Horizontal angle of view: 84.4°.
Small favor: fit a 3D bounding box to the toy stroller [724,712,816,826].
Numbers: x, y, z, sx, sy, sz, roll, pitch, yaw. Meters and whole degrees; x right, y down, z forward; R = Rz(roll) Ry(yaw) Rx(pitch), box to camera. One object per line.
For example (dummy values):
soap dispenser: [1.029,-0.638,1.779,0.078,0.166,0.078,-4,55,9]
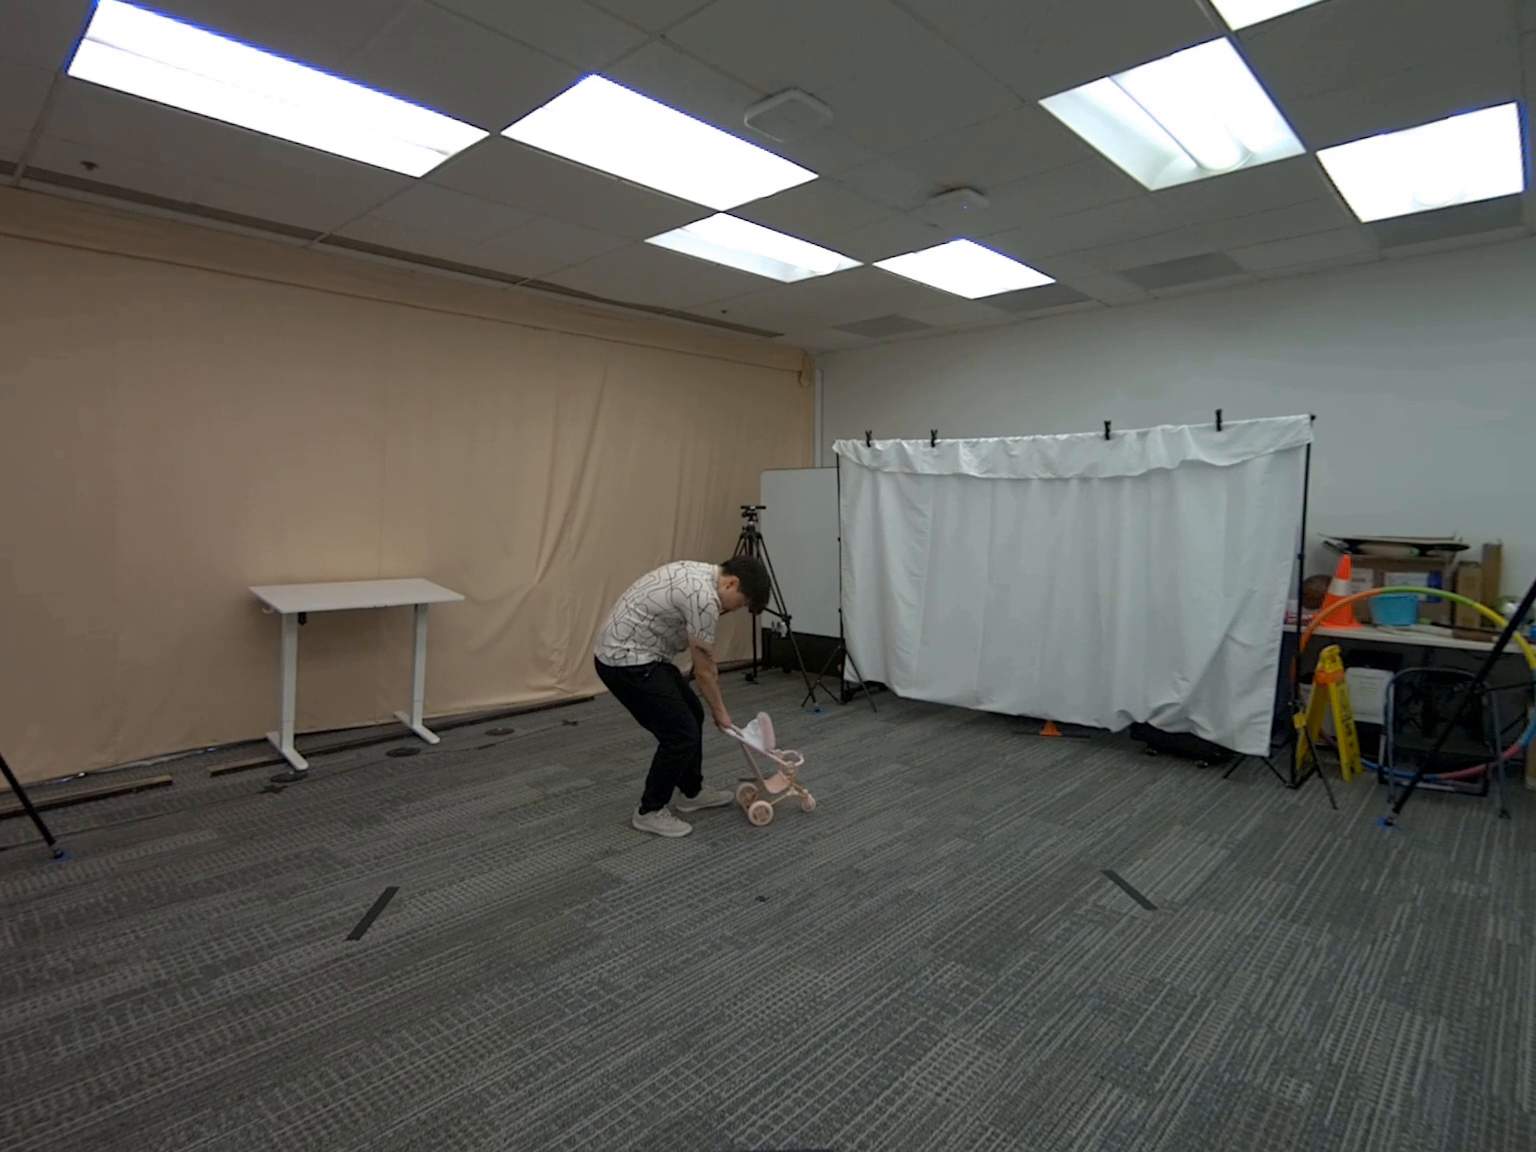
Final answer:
toy stroller: [0.000,0.853,3.788,0.339,0.532,0.284,-16,5,-8]
